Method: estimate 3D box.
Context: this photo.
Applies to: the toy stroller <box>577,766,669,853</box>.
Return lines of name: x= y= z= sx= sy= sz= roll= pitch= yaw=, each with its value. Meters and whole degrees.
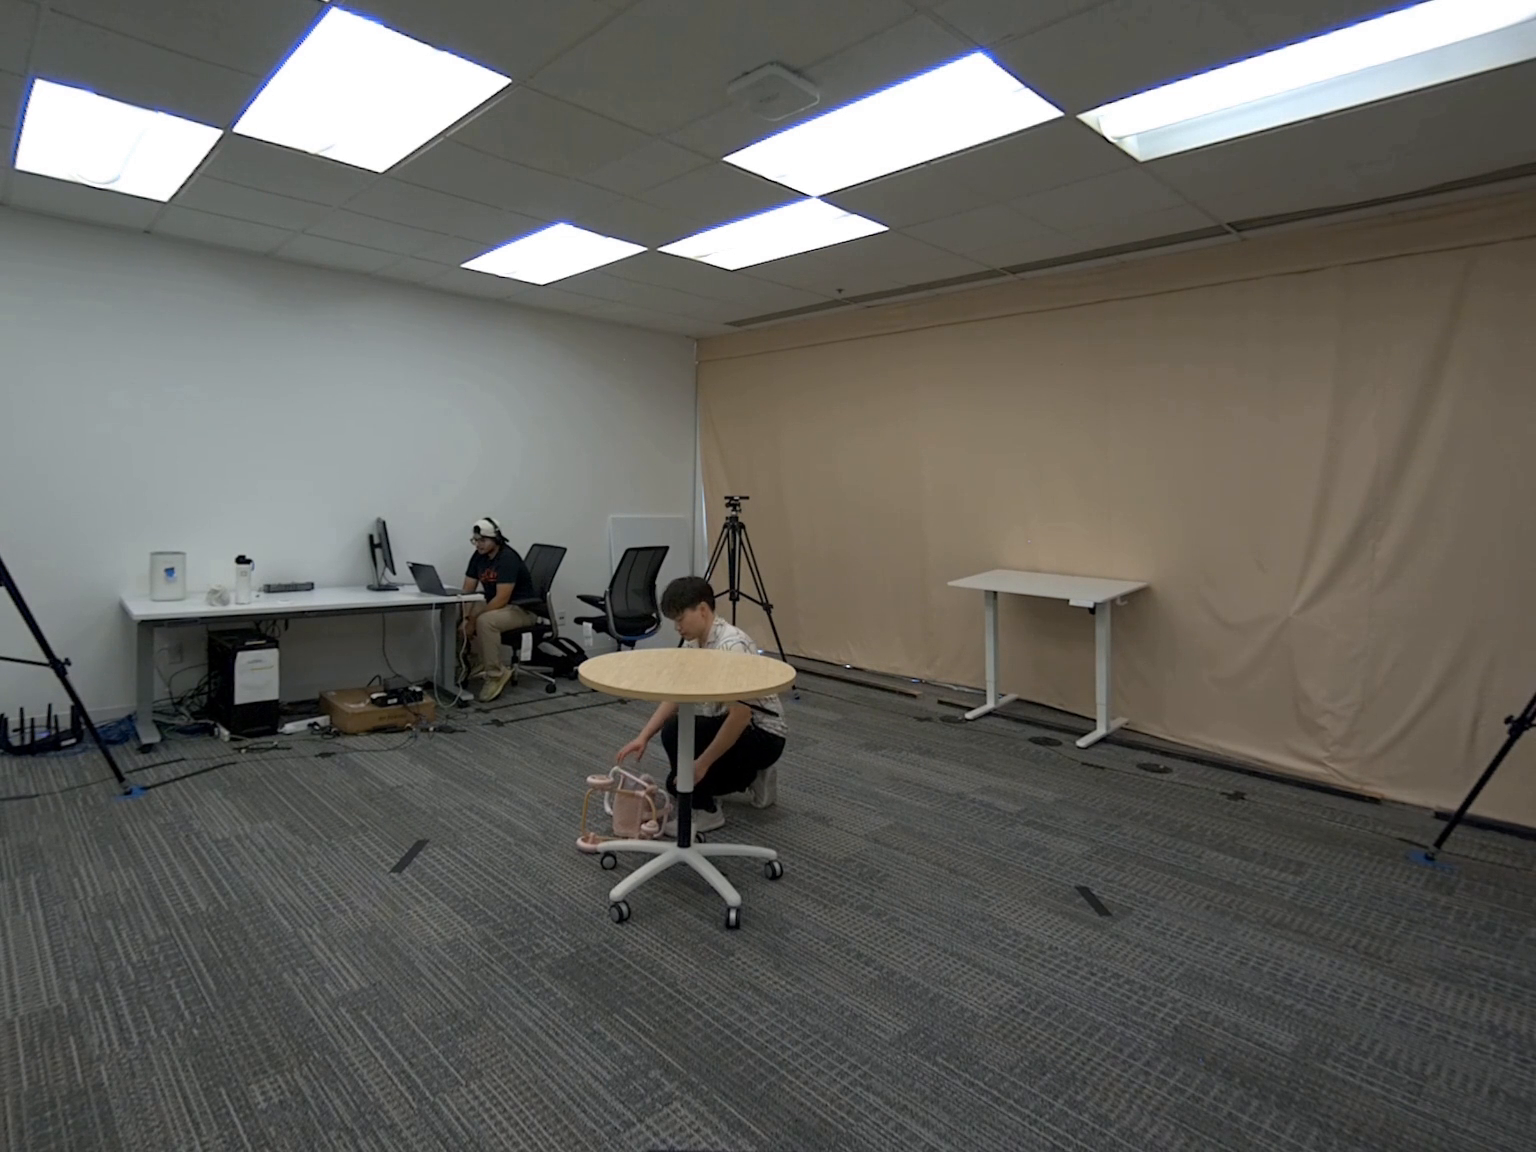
toy stroller: x=-0.557 y=0.939 z=3.438 sx=0.343 sy=0.282 sz=0.531 roll=4 pitch=-1 yaw=5
